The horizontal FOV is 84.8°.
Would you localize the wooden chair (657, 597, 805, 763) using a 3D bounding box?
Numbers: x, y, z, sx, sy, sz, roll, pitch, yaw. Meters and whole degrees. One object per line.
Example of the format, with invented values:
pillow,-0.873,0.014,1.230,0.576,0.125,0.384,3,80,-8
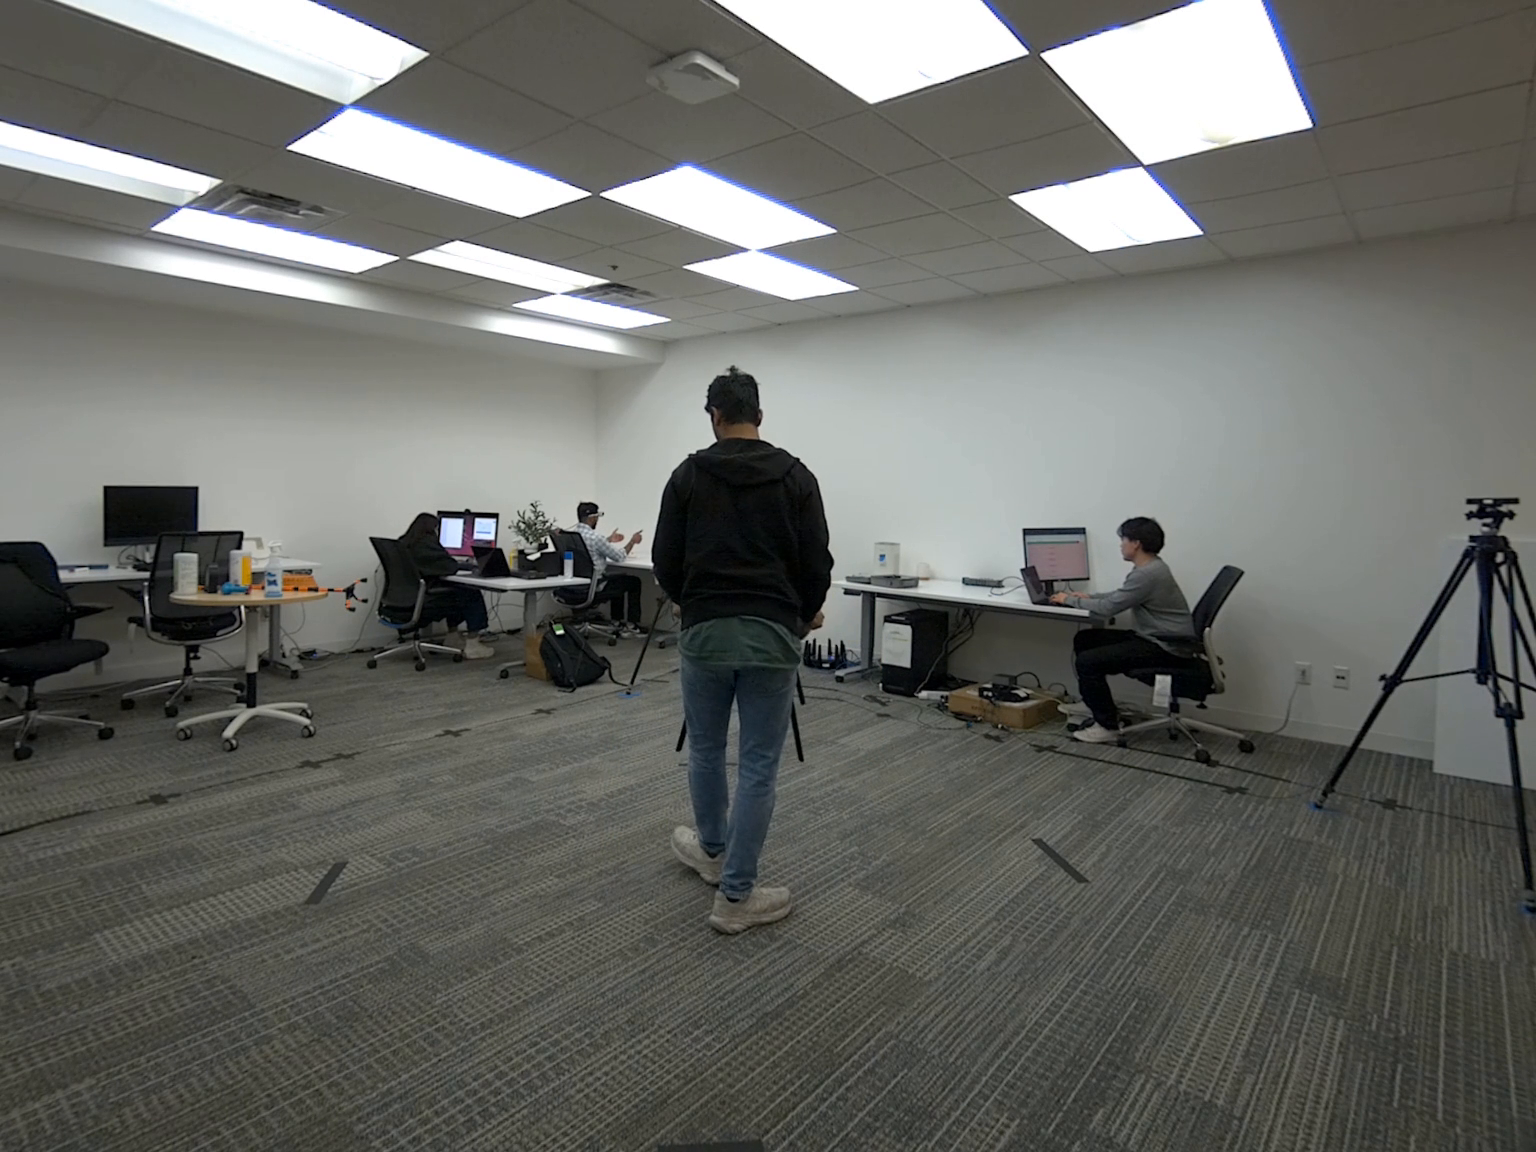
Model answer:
wooden chair,-0.085,0.169,3.098,0.481,0.867,0.526,3,13,5
